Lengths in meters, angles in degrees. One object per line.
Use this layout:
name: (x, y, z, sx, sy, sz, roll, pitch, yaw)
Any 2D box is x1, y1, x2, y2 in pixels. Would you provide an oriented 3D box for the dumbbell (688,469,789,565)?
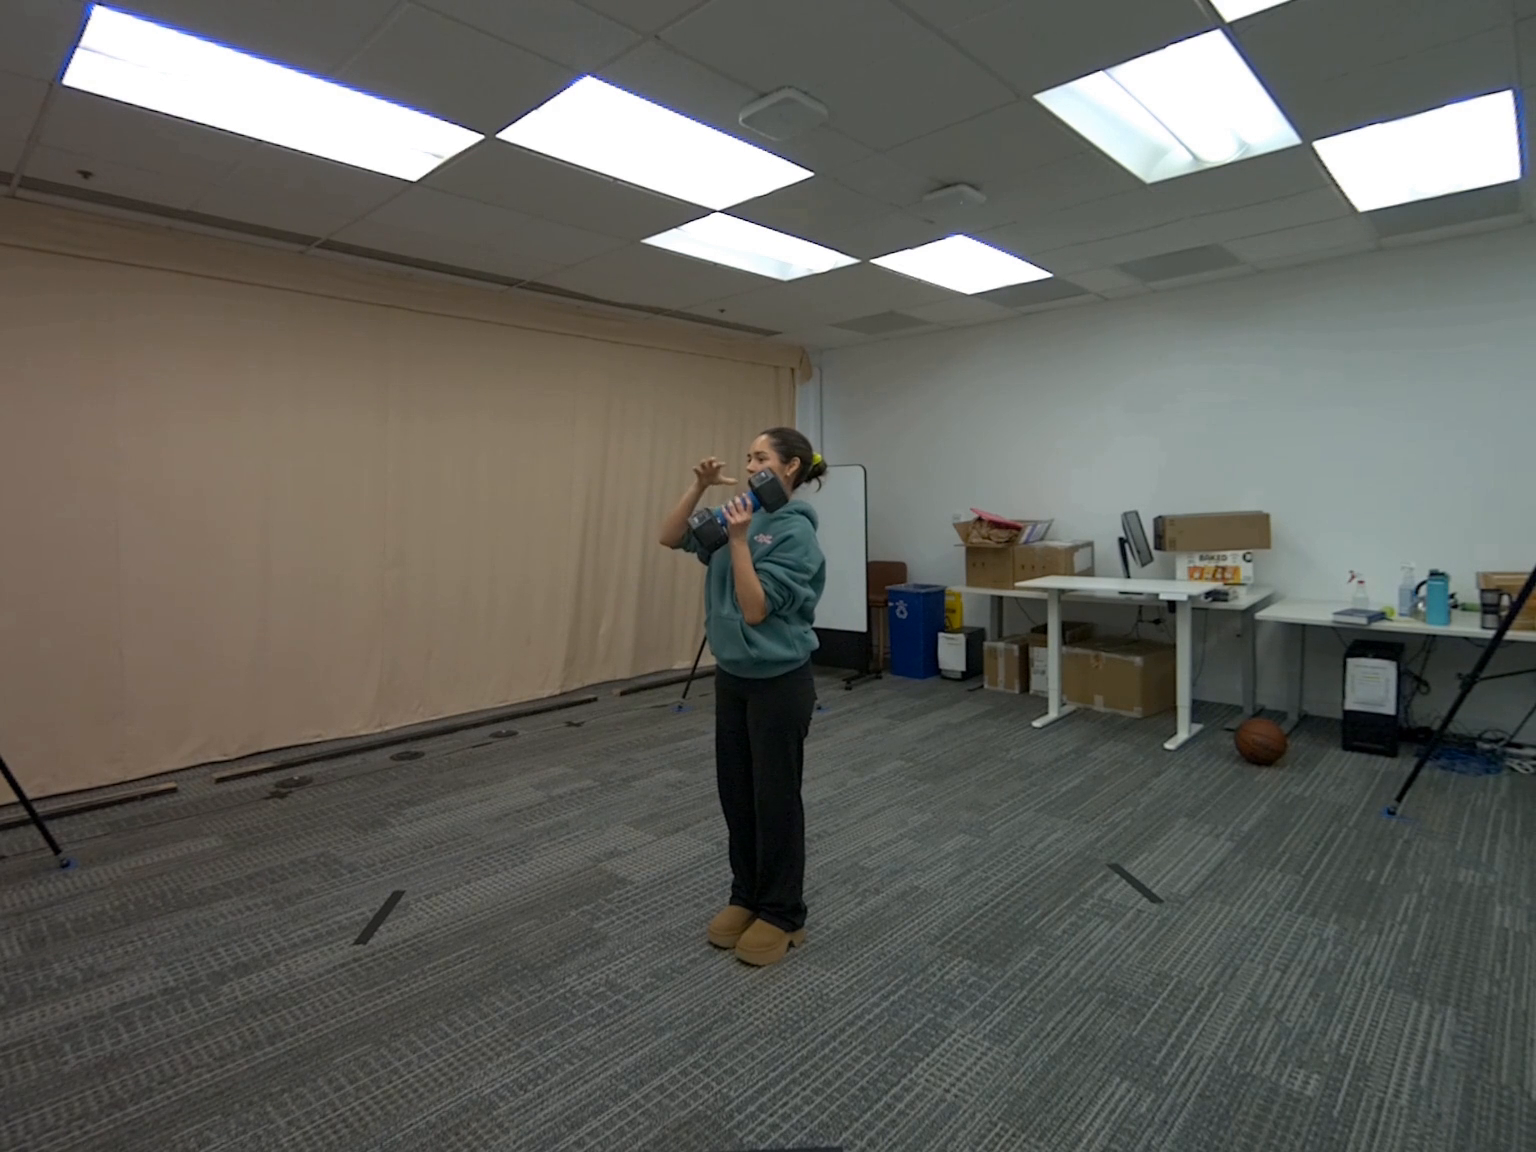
dumbbell: (-0.085, -0.182, 2.420, 0.293, 0.111, 0.120, -33, -24, 0)
